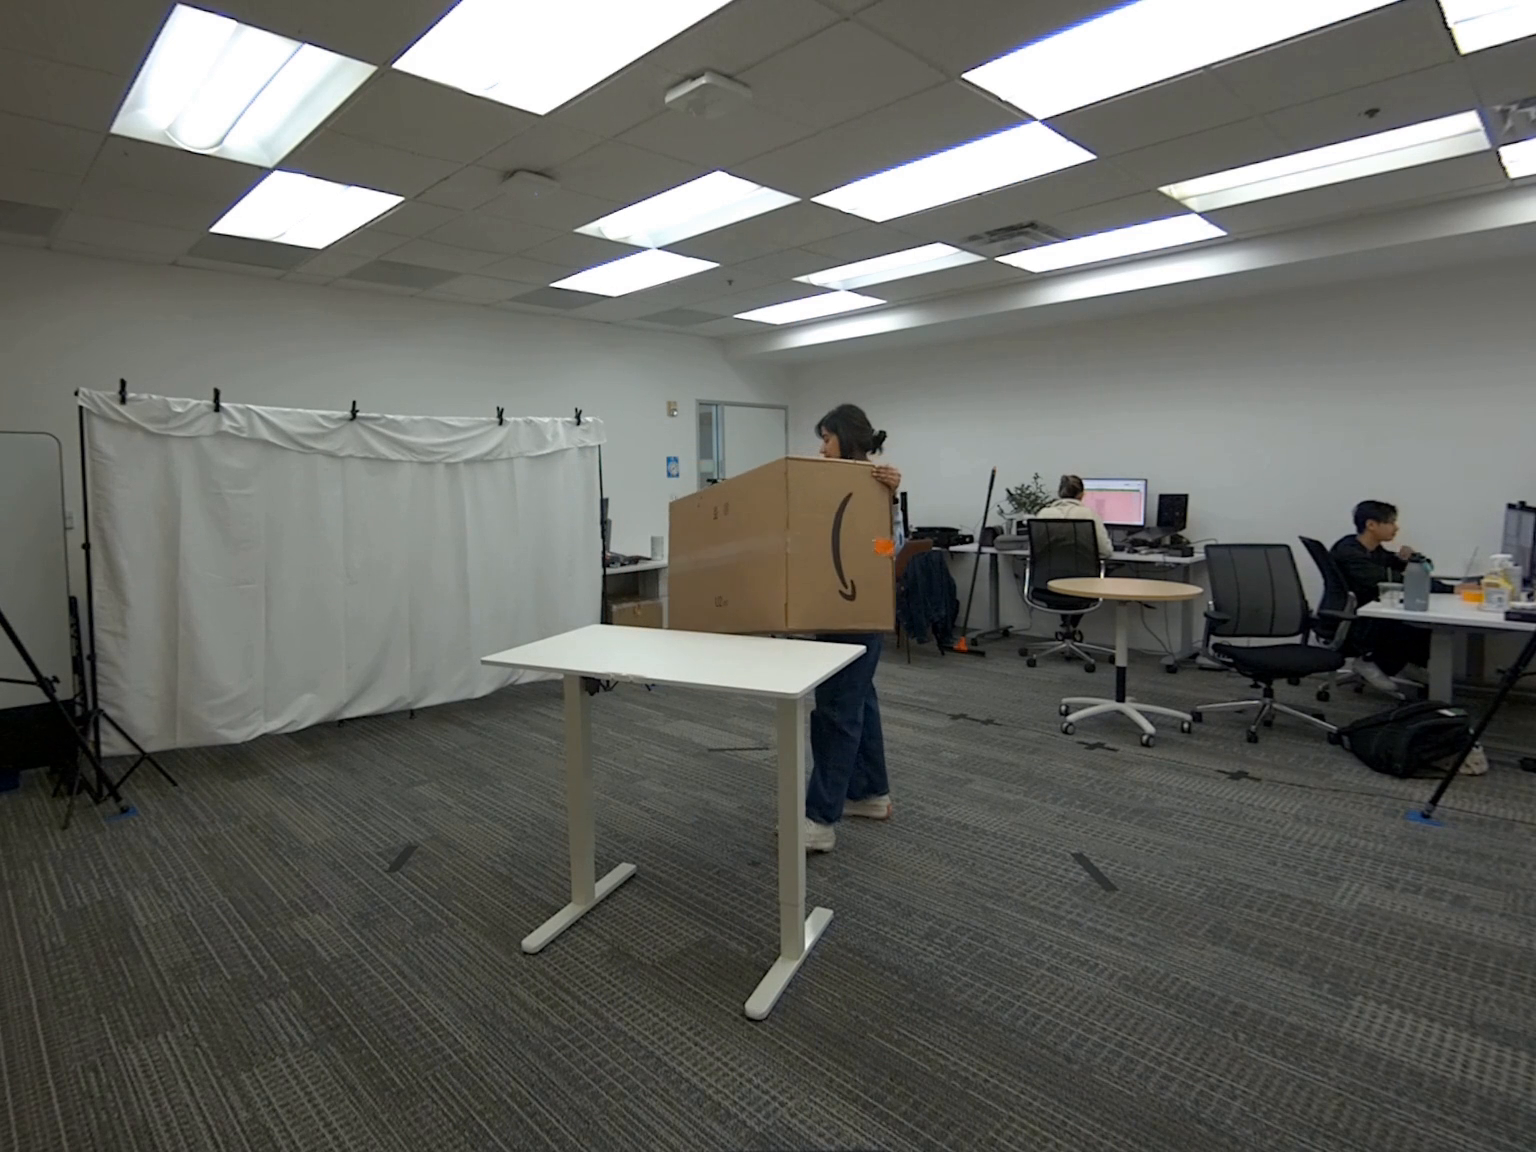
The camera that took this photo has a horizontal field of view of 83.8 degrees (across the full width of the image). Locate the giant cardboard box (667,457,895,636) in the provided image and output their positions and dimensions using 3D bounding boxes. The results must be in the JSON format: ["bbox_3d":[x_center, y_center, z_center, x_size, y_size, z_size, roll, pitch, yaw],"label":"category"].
[{"bbox_3d":[0.000,-0.066,3.302,0.416,0.581,1.044,3,-6,-27],"label":"giant cardboard box"}]
